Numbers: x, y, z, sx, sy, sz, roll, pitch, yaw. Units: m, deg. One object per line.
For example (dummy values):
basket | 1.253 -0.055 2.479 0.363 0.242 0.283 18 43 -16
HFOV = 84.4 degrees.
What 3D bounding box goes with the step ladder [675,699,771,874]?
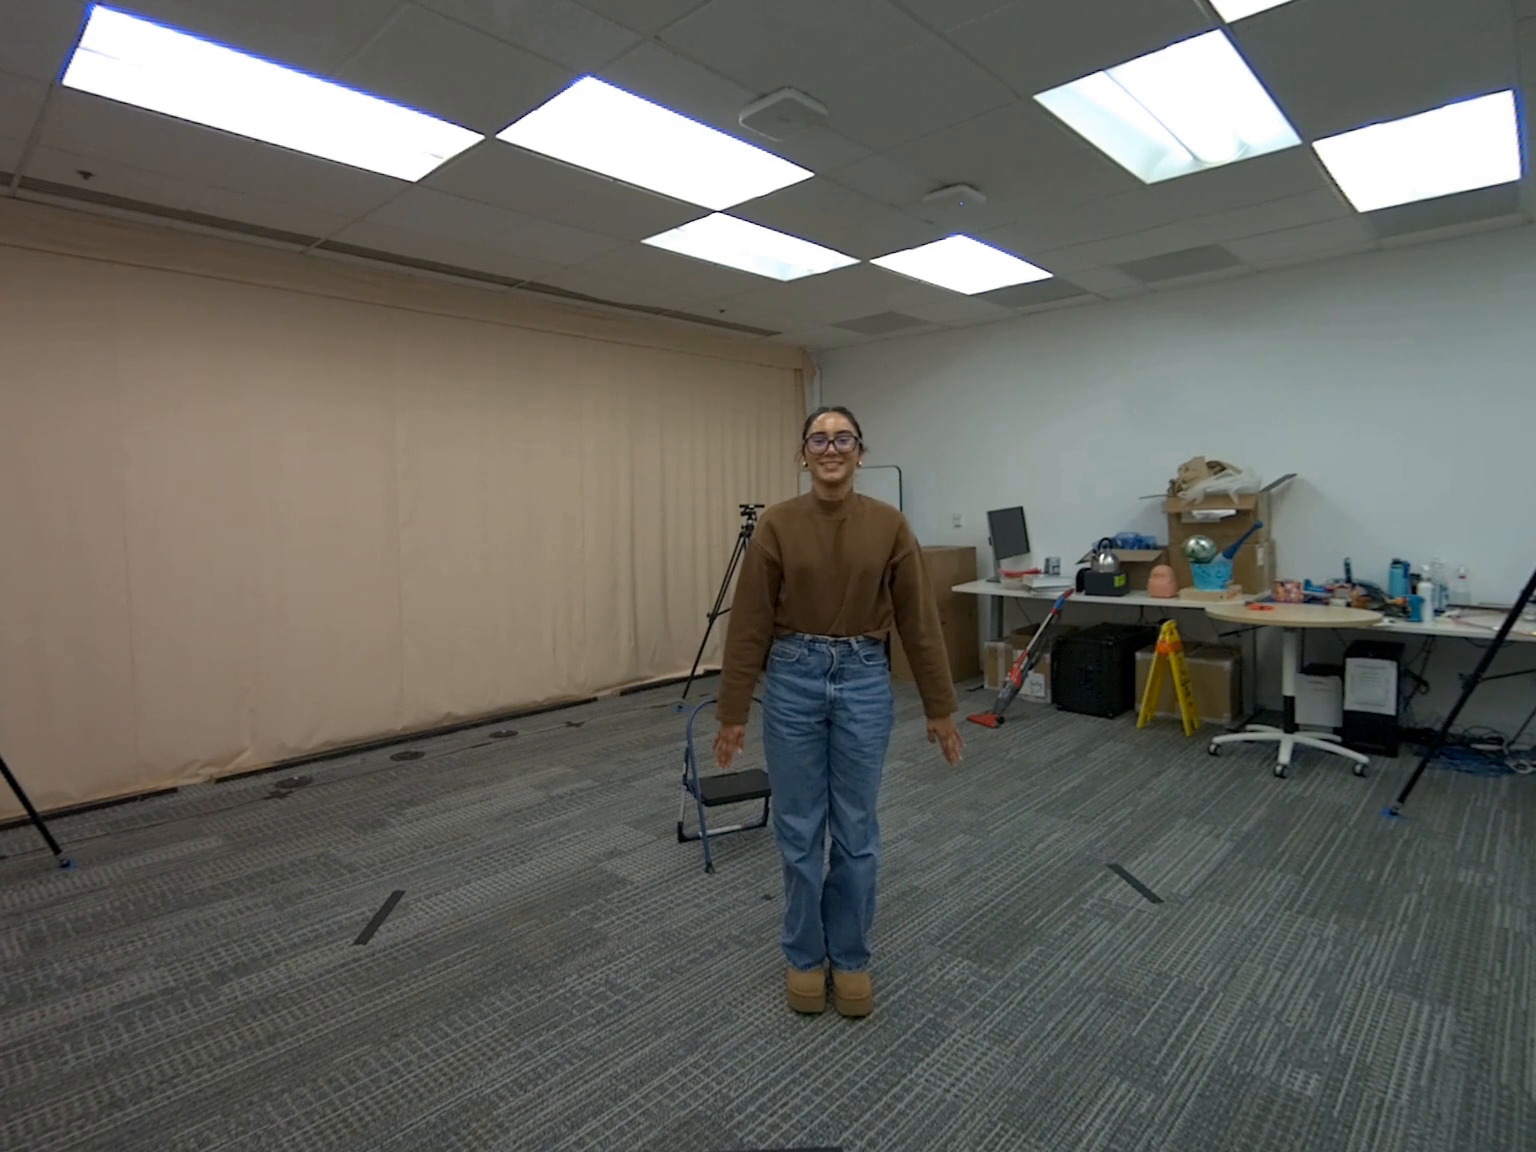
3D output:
step ladder | -0.122 0.804 3.415 0.420 0.605 0.358 -3 3 -27
